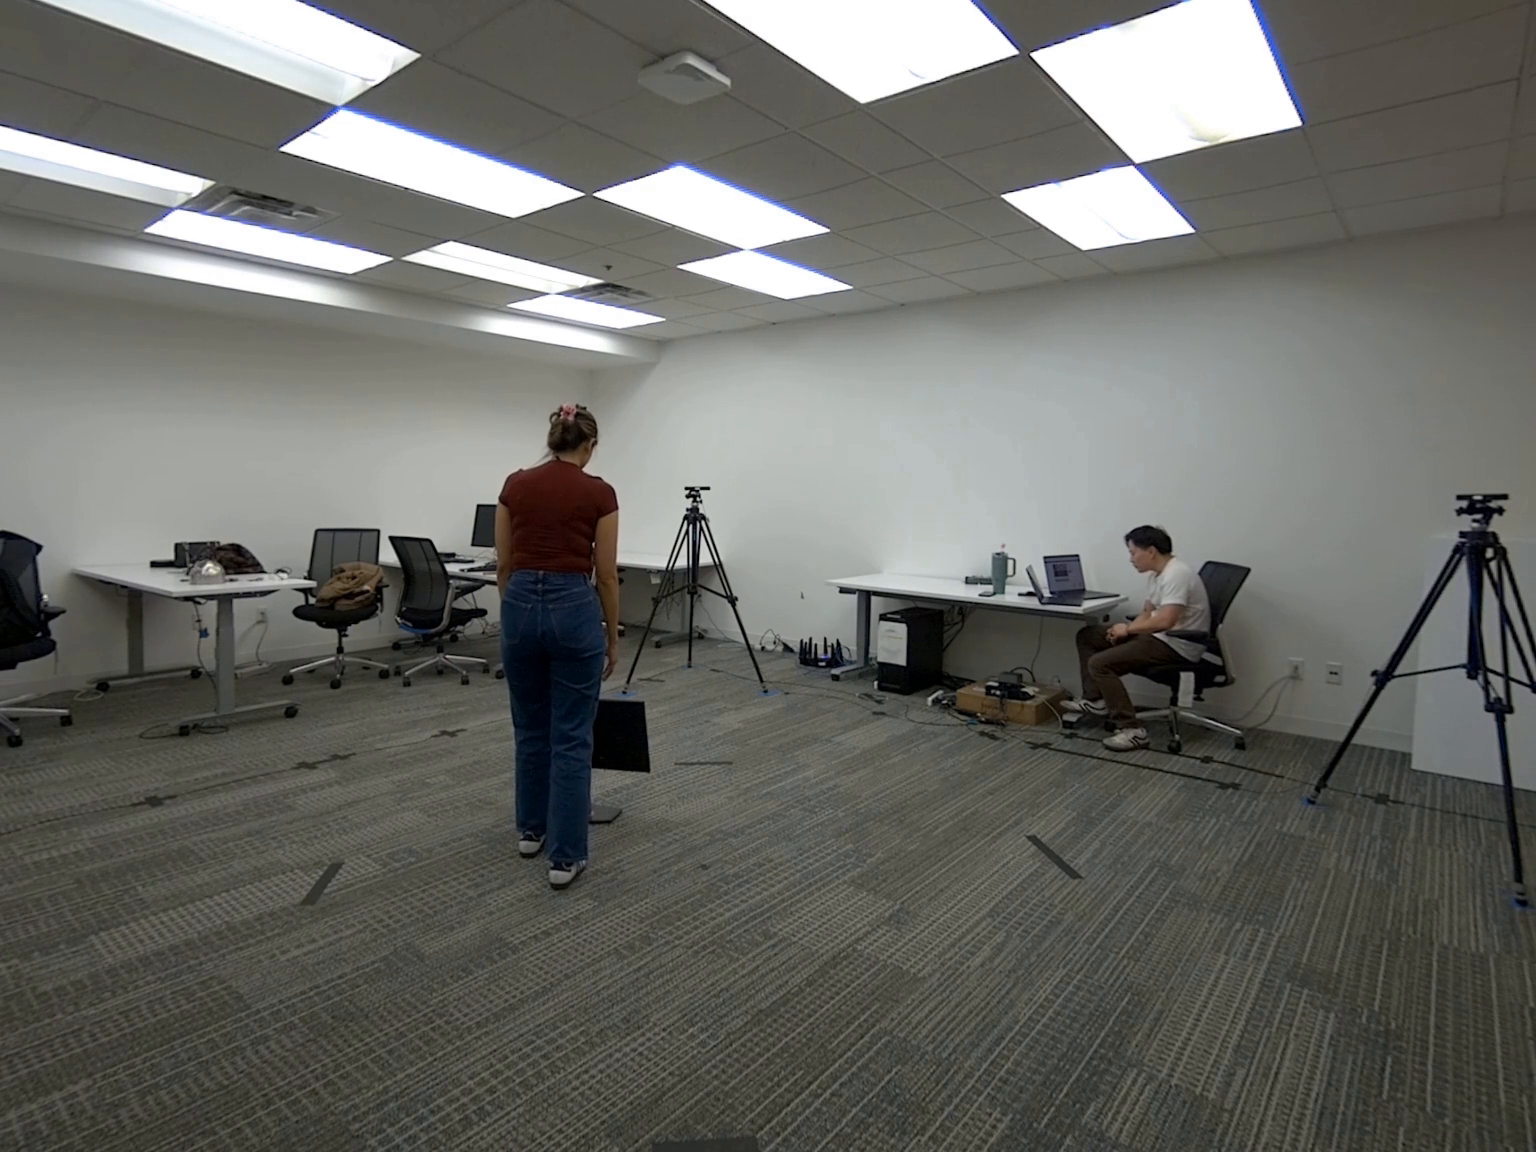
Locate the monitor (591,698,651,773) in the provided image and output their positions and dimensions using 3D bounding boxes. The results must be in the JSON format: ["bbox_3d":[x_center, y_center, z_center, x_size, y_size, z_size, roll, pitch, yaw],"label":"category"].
[{"bbox_3d":[-0.776,0.757,3.576,0.545,0.520,0.186,1,6,10],"label":"monitor"}]
